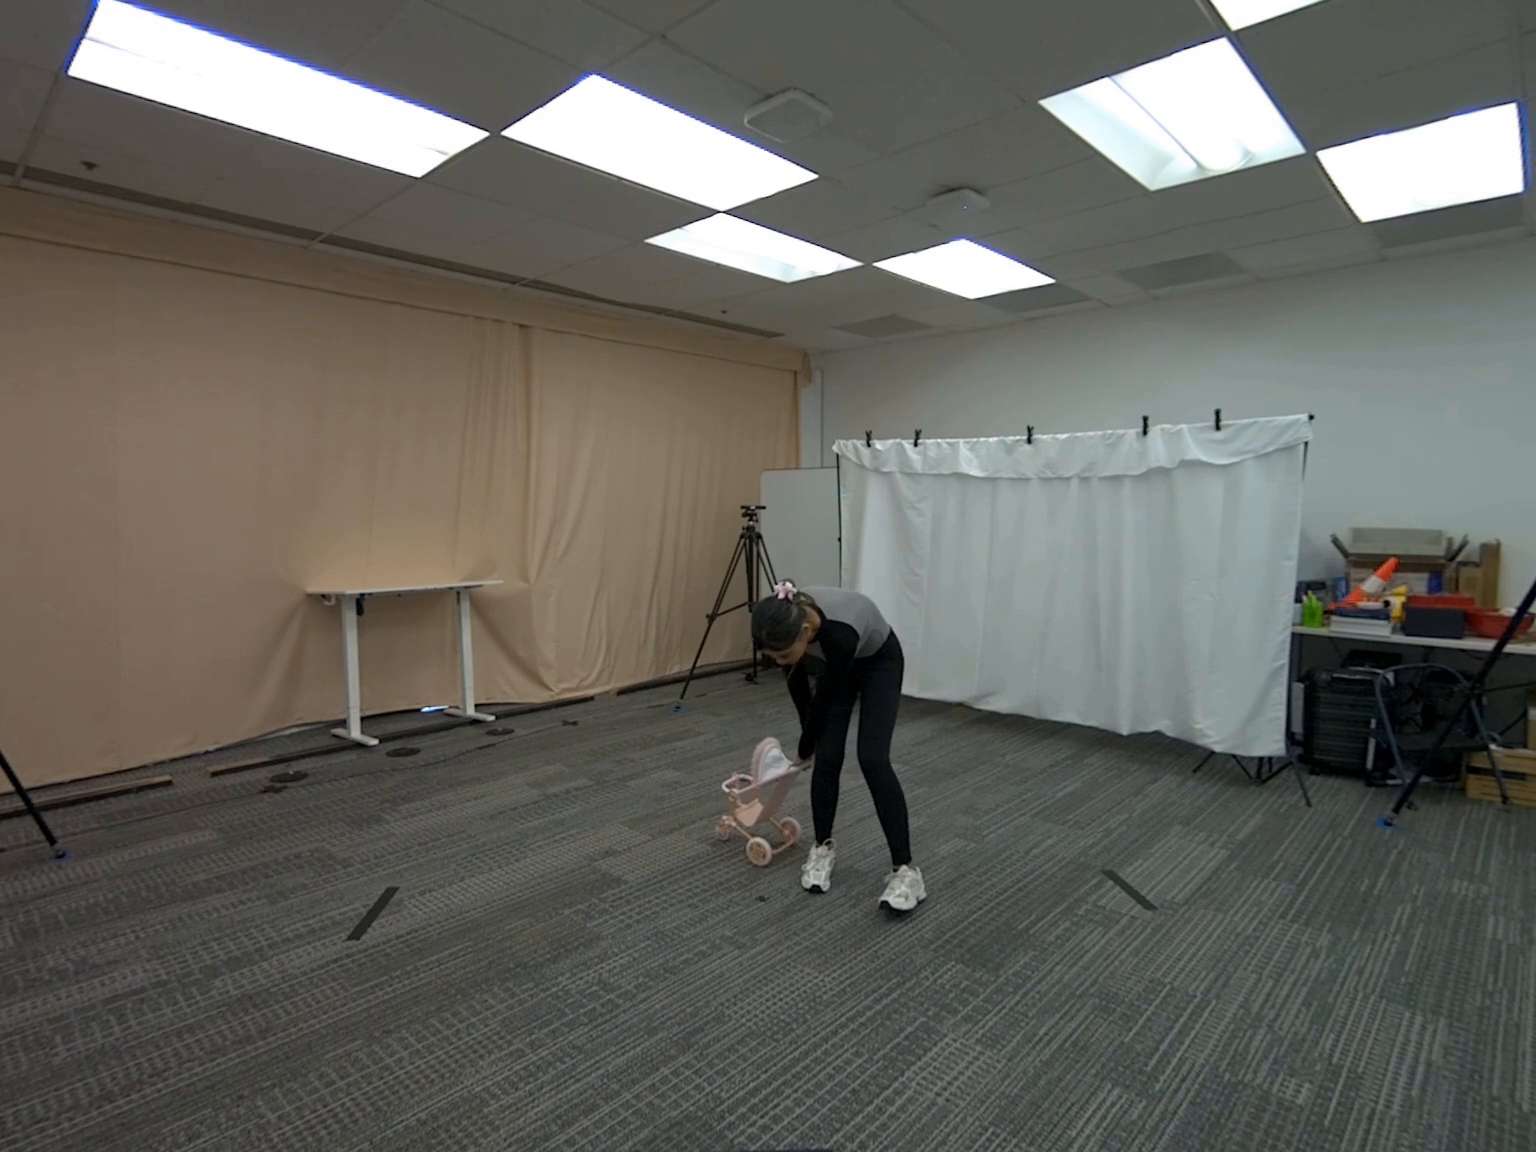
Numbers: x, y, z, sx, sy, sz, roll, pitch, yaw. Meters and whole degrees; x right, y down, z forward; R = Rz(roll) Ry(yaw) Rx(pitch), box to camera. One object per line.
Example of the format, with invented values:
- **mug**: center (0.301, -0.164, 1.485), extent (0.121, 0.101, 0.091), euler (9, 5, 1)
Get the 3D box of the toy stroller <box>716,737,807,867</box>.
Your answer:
- **toy stroller**: center (-0.022, 0.884, 3.390), extent (0.353, 0.532, 0.273), euler (23, 15, 33)
